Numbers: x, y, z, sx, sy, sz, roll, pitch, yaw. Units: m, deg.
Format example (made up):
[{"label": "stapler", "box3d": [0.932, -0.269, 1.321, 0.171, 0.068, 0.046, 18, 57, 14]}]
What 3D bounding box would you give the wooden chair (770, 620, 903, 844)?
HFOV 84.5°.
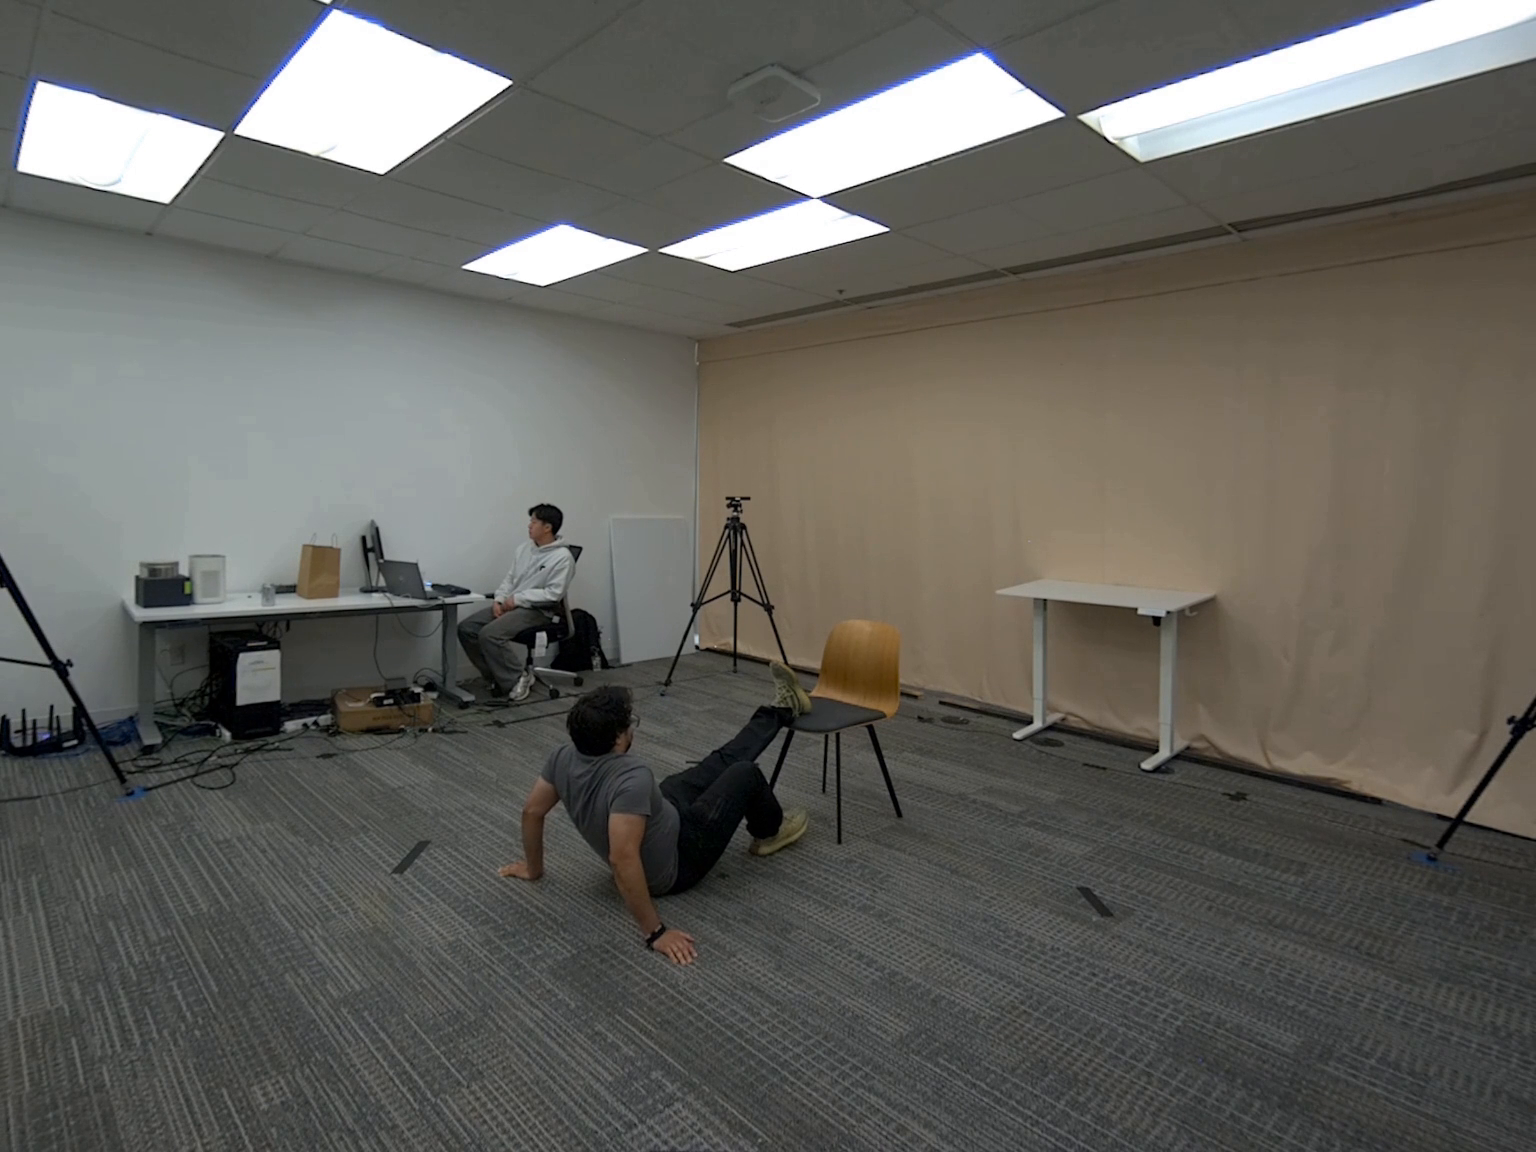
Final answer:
[{"label": "wooden chair", "box3d": [0.276, 0.639, 3.700, 0.490, 0.877, 0.510, 4, 0, 44]}]
